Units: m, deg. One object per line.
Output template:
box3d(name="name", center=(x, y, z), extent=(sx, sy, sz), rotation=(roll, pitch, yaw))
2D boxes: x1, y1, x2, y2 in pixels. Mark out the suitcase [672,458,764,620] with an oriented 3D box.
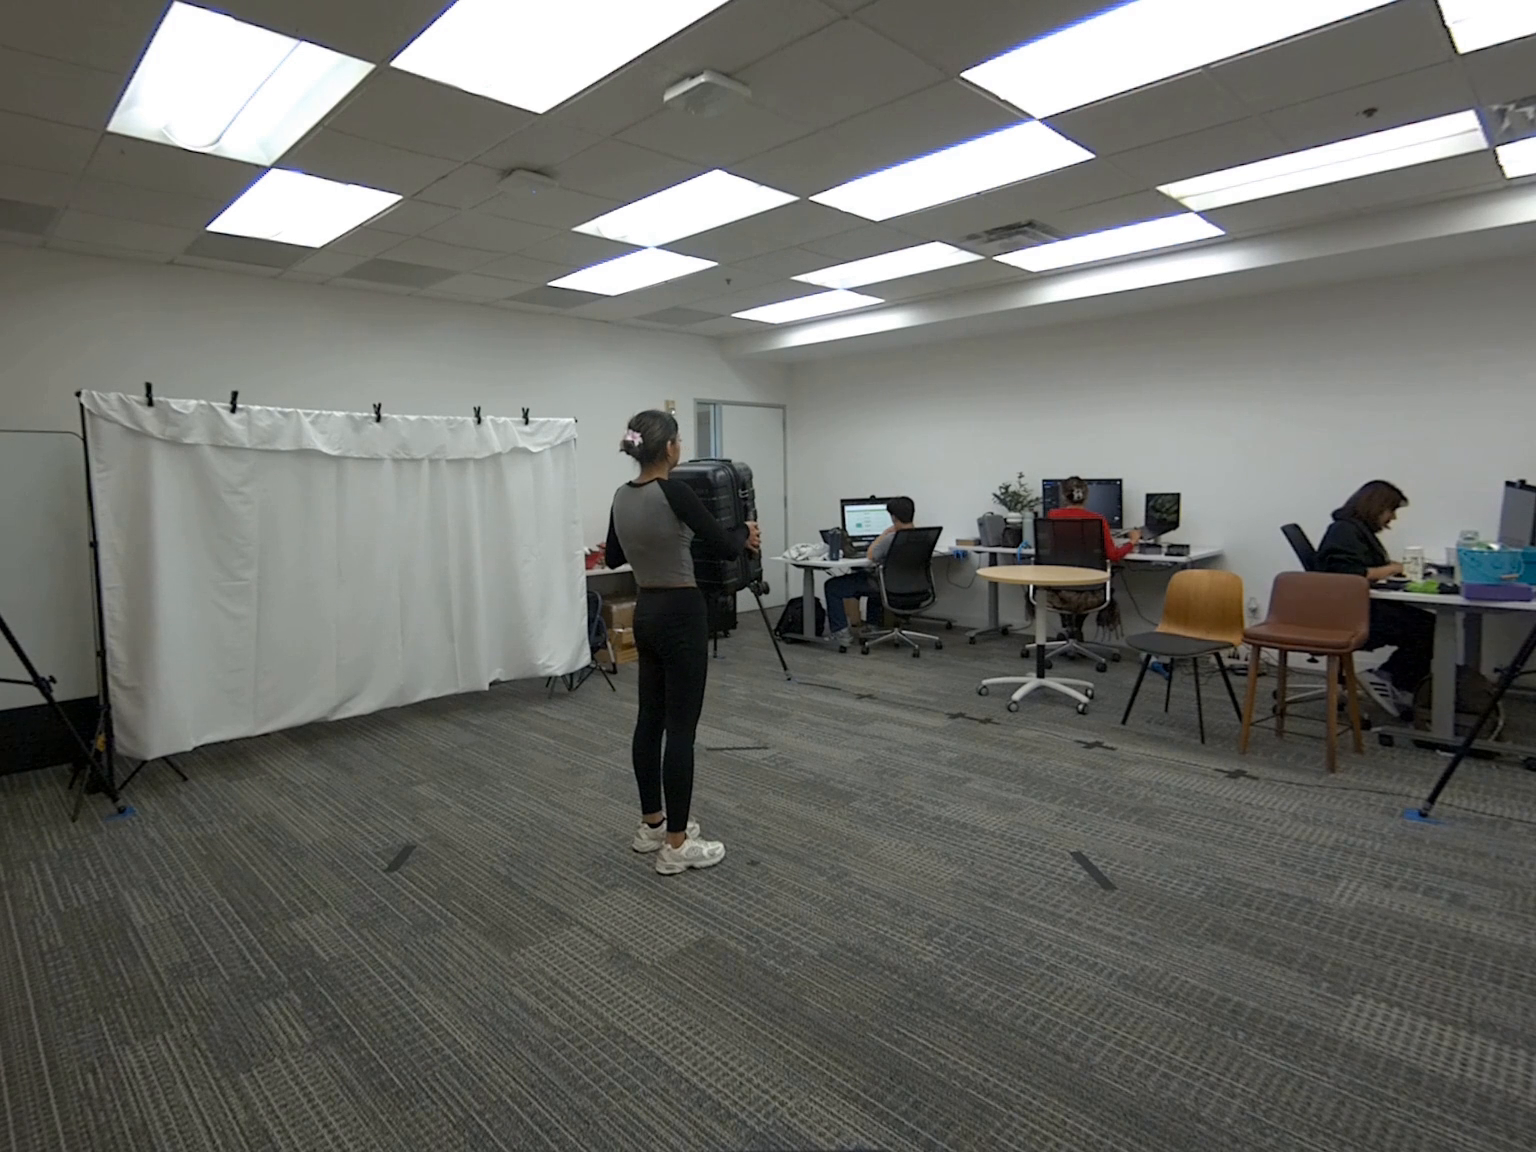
box3d(name="suitcase", center=(-0.227, -0.183, 3.378), extent=(0.387, 0.543, 0.243), rotation=(6, 16, 41))
